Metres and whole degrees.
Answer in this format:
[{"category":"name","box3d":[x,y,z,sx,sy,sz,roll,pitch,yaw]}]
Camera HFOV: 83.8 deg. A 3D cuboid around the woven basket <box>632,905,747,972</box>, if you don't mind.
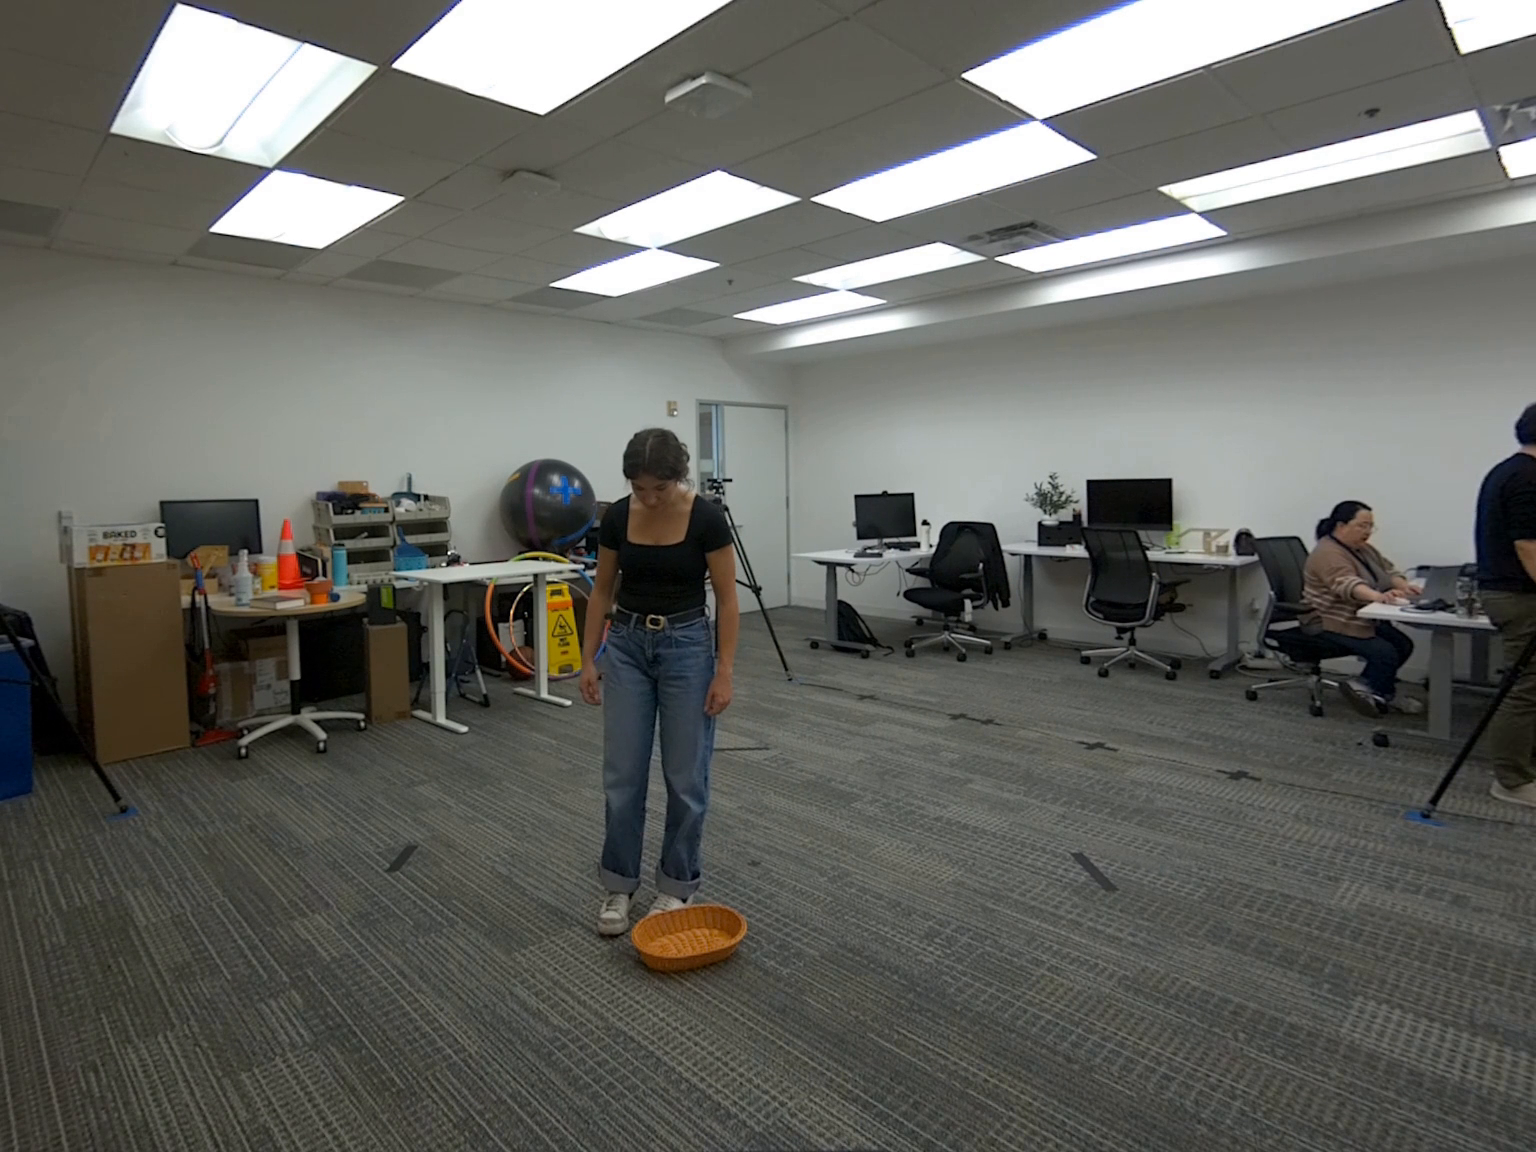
[{"category":"woven basket","box3d":[-0.227,1.077,2.531,0.344,0.073,0.259,-4,9,-22]}]
